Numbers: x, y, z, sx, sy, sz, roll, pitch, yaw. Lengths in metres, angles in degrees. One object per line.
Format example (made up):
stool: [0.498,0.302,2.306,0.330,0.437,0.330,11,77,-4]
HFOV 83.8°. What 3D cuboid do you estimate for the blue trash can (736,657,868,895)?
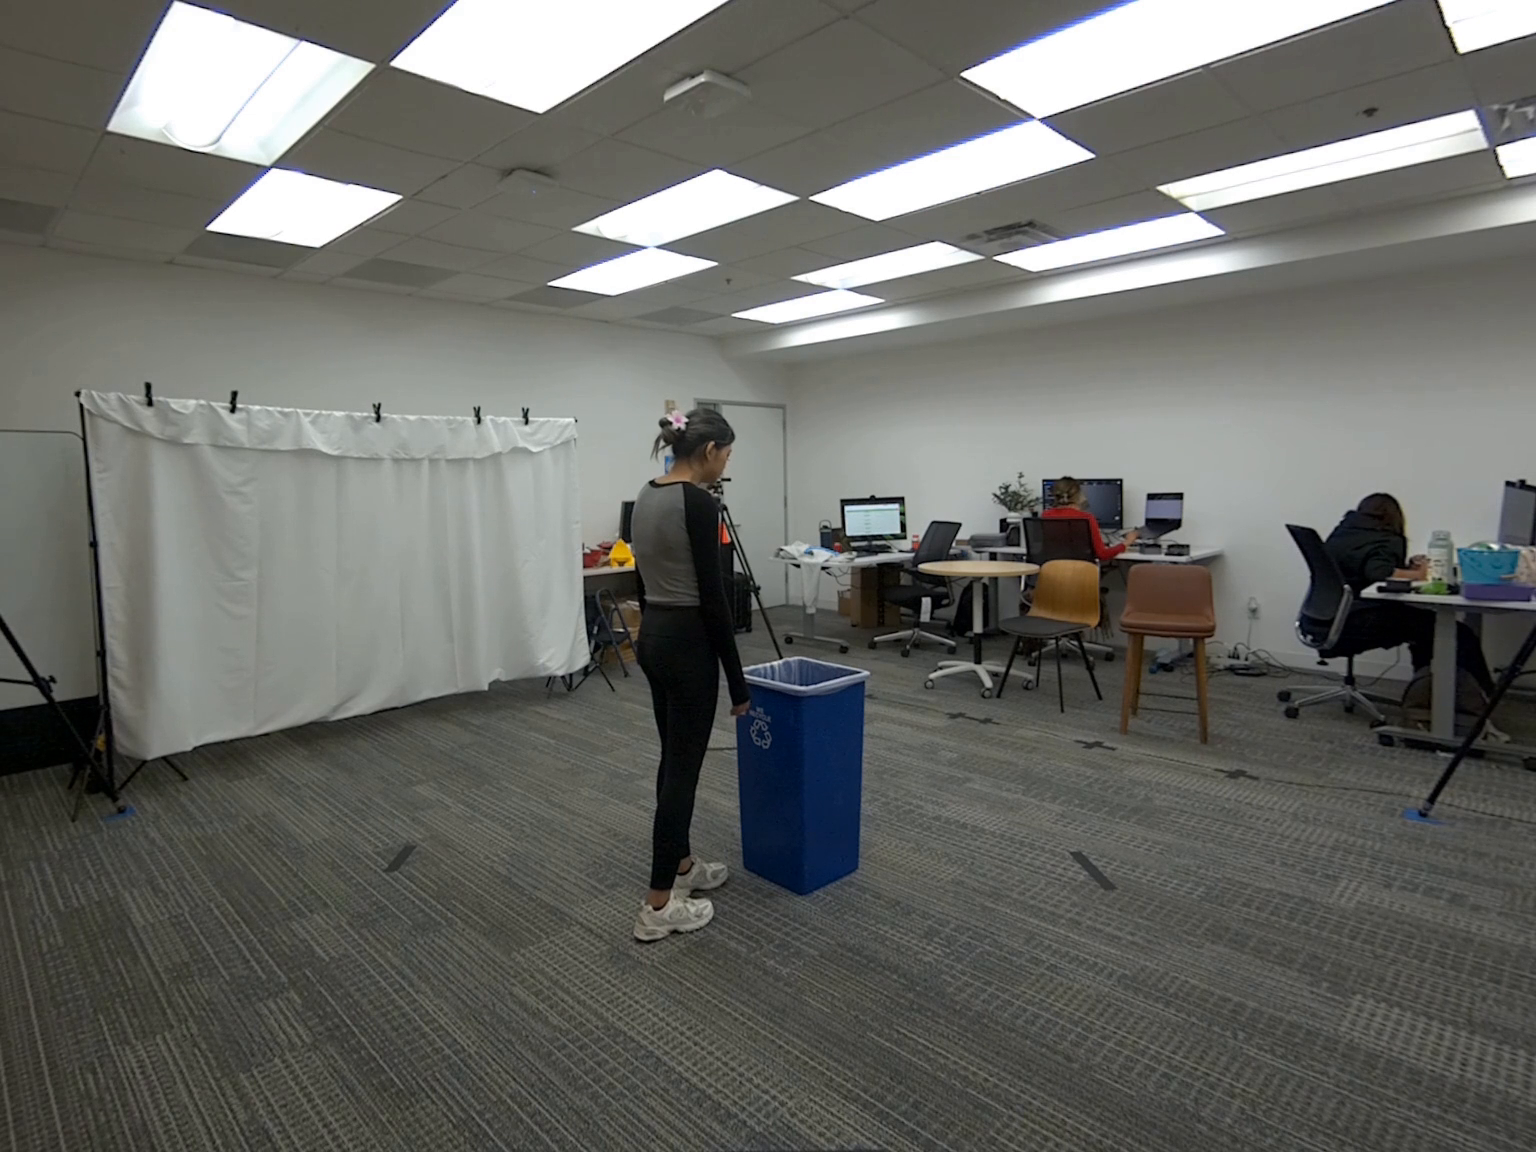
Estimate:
blue trash can: [0.123,0.690,3.032,0.368,0.711,0.385,-5,6,-43]
